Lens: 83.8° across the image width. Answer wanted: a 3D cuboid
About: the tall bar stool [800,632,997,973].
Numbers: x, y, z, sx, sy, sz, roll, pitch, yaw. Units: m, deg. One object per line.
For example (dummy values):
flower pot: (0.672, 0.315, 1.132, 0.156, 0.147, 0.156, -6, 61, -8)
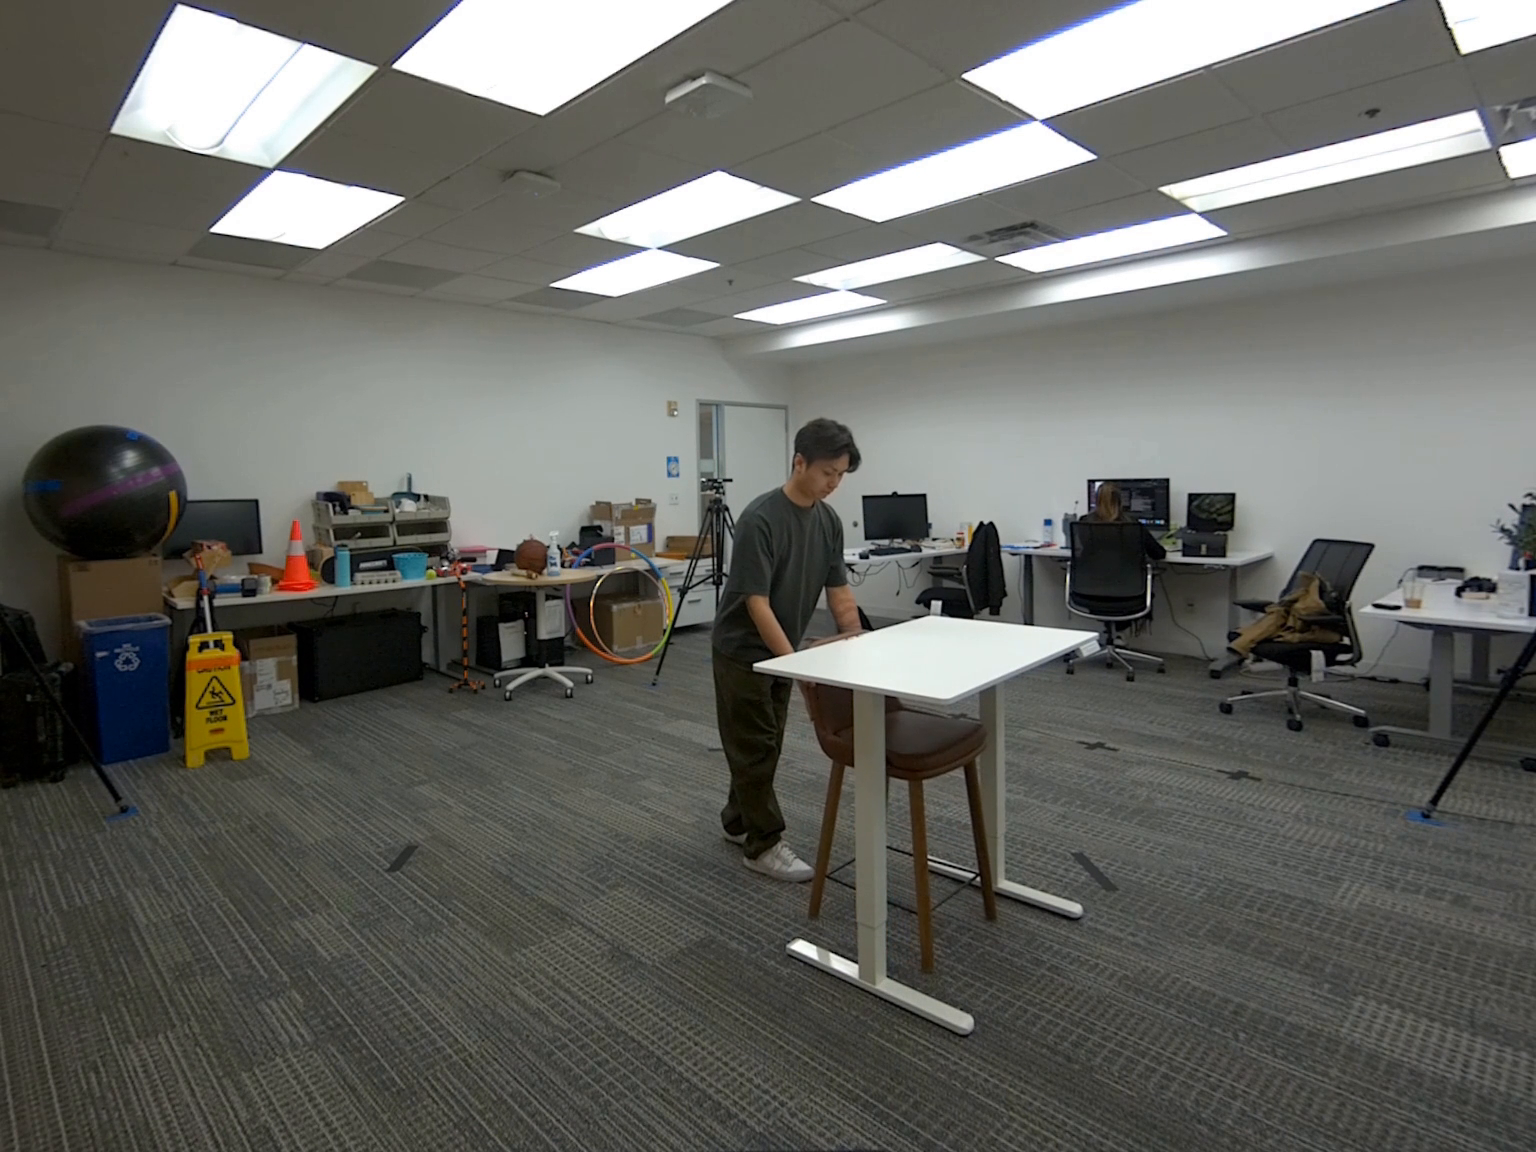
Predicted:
tall bar stool: (0.402, 0.648, 2.675, 0.481, 0.888, 0.445, -1, 3, 42)
